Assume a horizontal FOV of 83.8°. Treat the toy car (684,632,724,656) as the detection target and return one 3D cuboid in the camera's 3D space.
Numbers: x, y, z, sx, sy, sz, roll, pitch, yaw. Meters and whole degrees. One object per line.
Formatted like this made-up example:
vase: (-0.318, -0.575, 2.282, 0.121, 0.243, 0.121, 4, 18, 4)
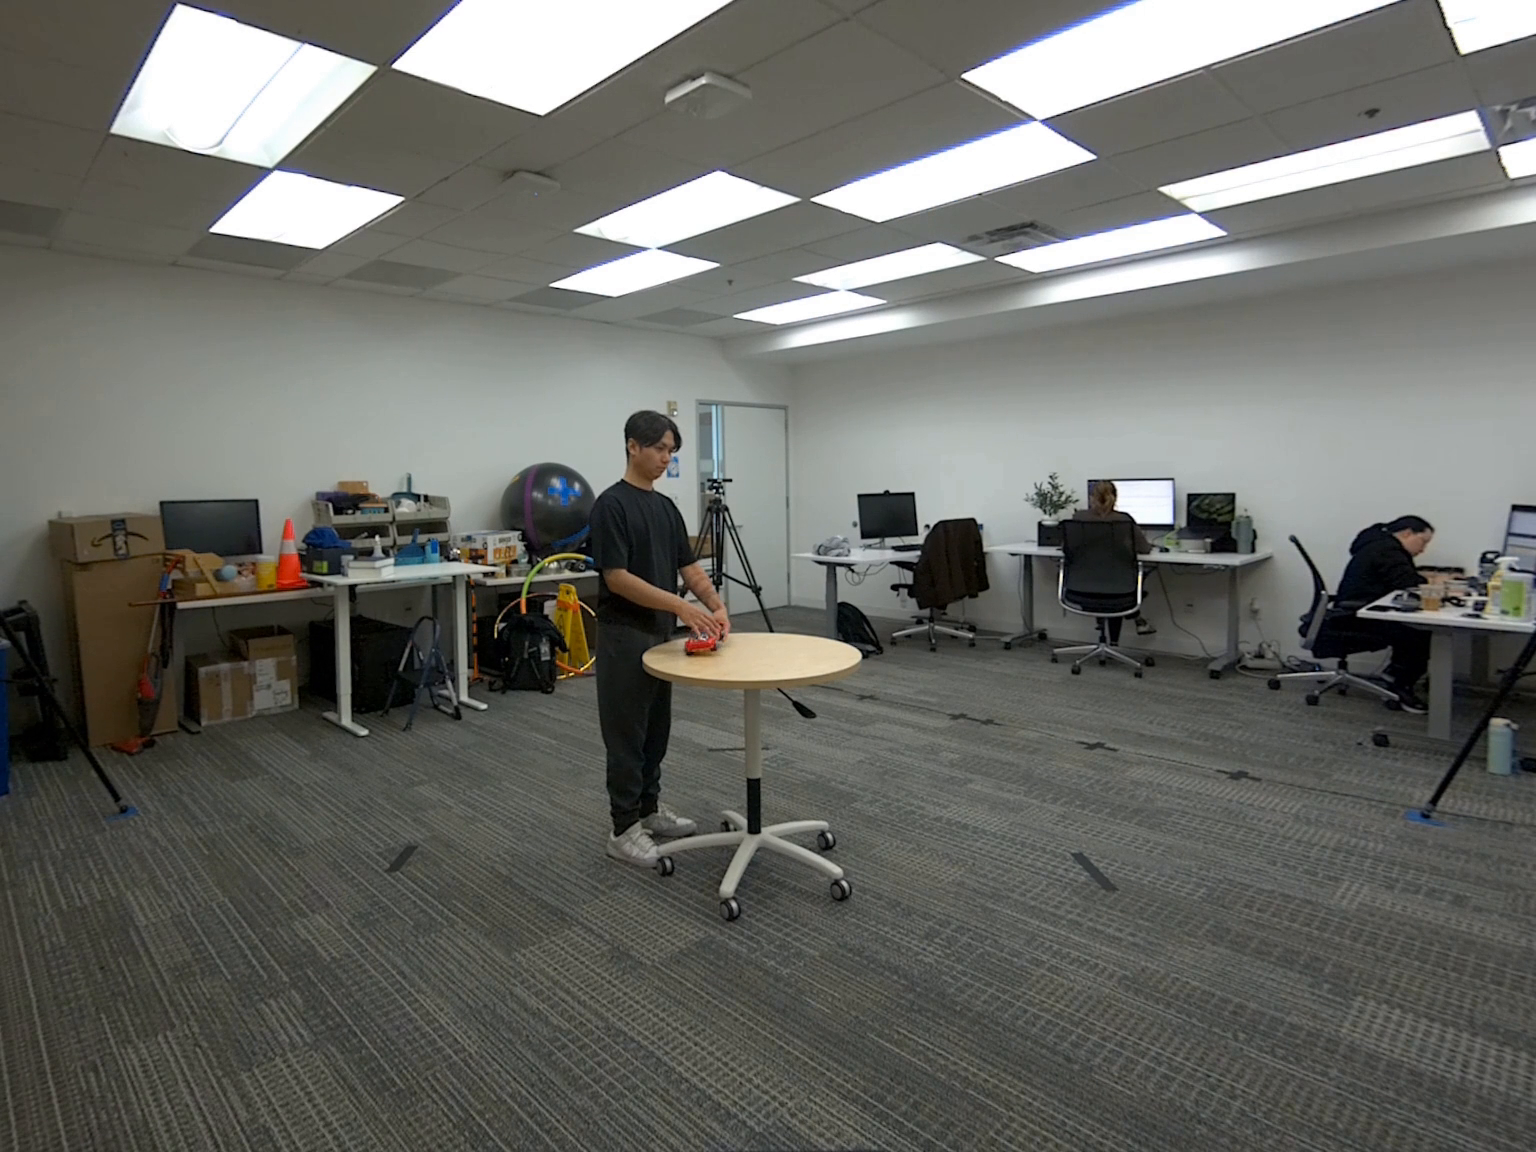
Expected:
toy car: (-0.225, 0.224, 3.070, 0.131, 0.082, 0.257, -10, 18, 6)
